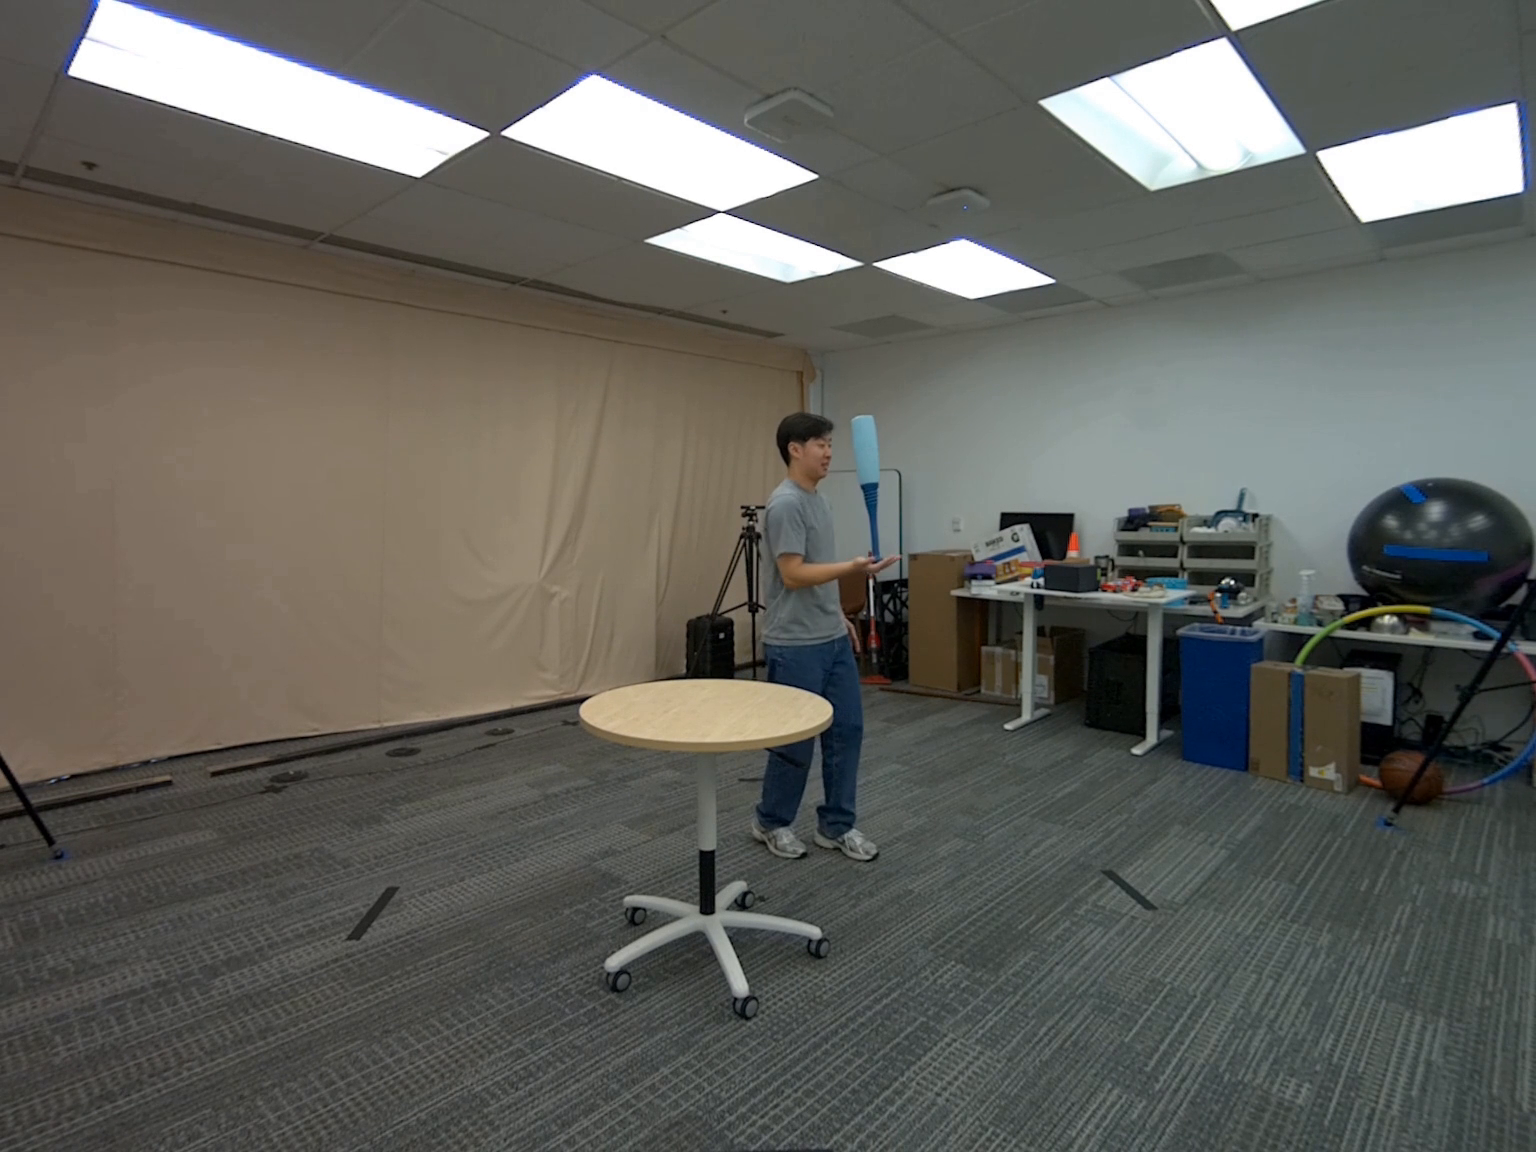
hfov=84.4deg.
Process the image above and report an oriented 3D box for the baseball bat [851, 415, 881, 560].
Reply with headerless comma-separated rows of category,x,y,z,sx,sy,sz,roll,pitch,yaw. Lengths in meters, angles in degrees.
baseball bat,0.377,-0.319,3.072,0.089,0.545,0.089,-5,-4,-2
